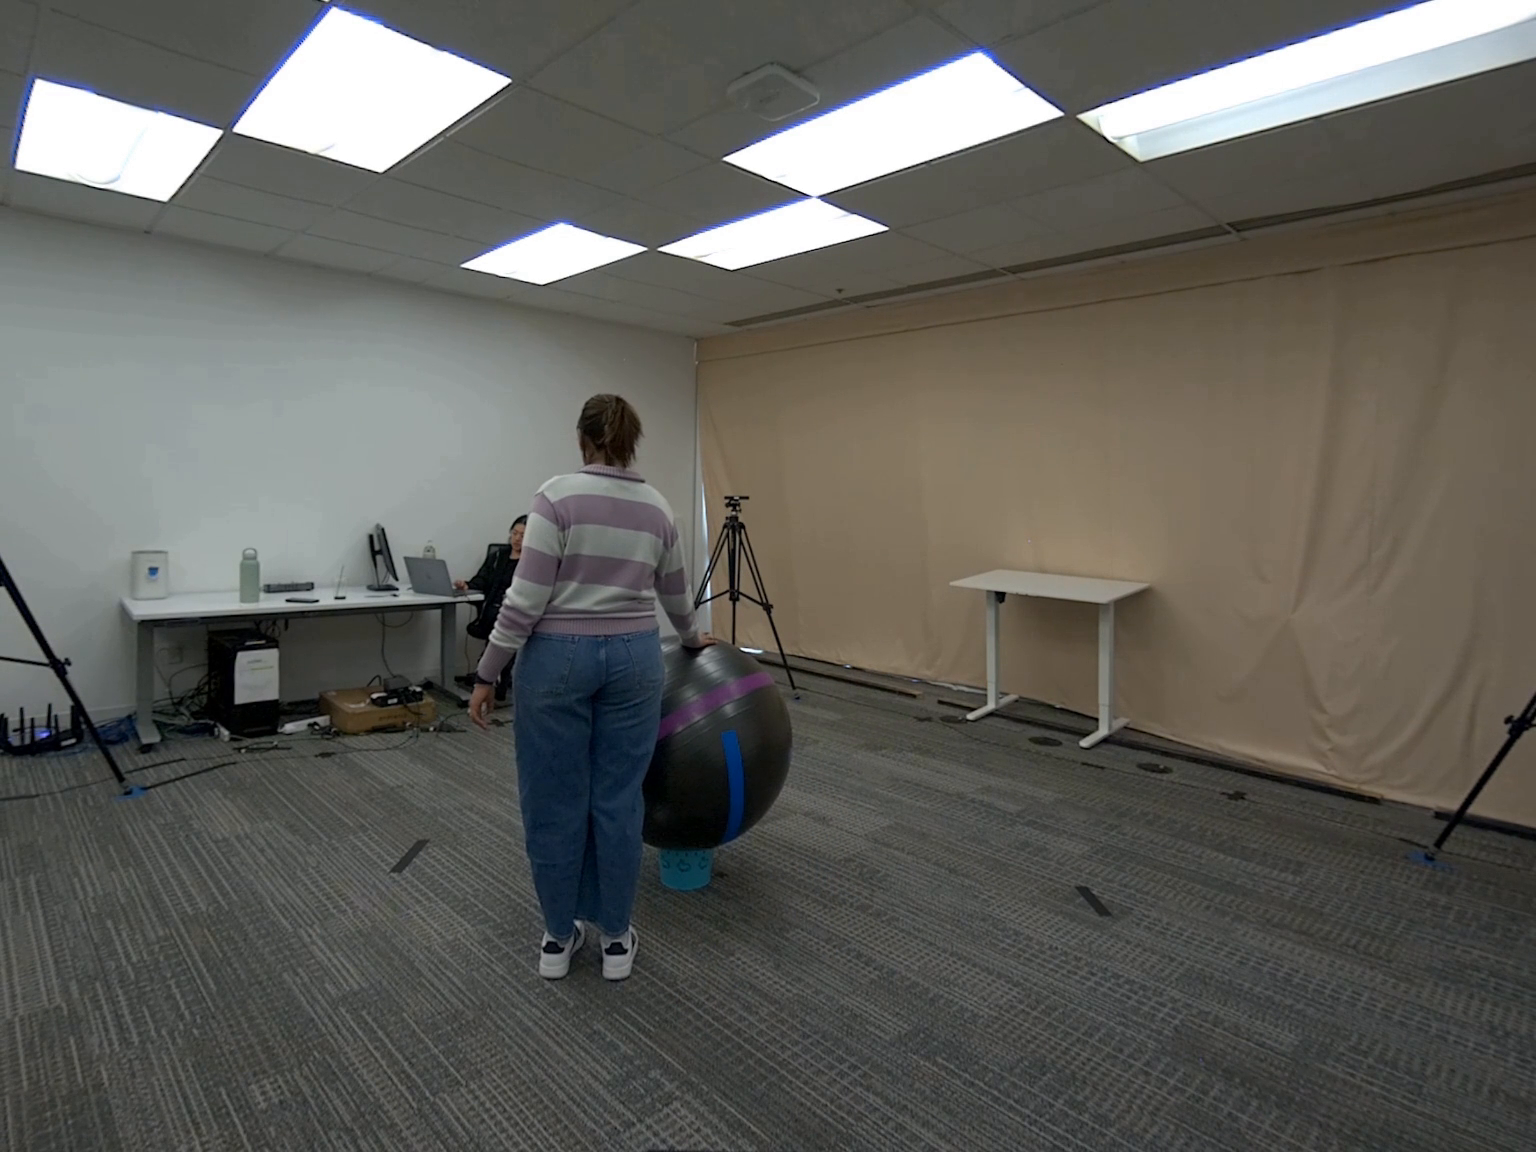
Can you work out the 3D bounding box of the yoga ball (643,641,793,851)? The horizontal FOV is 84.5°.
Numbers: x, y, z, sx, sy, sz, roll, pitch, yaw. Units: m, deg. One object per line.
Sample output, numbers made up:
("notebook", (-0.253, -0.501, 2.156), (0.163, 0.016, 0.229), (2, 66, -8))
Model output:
("yoga ball", (-0.292, 0.595, 3.042), (0.757, 0.756, 0.761), (1, 4, -1))
